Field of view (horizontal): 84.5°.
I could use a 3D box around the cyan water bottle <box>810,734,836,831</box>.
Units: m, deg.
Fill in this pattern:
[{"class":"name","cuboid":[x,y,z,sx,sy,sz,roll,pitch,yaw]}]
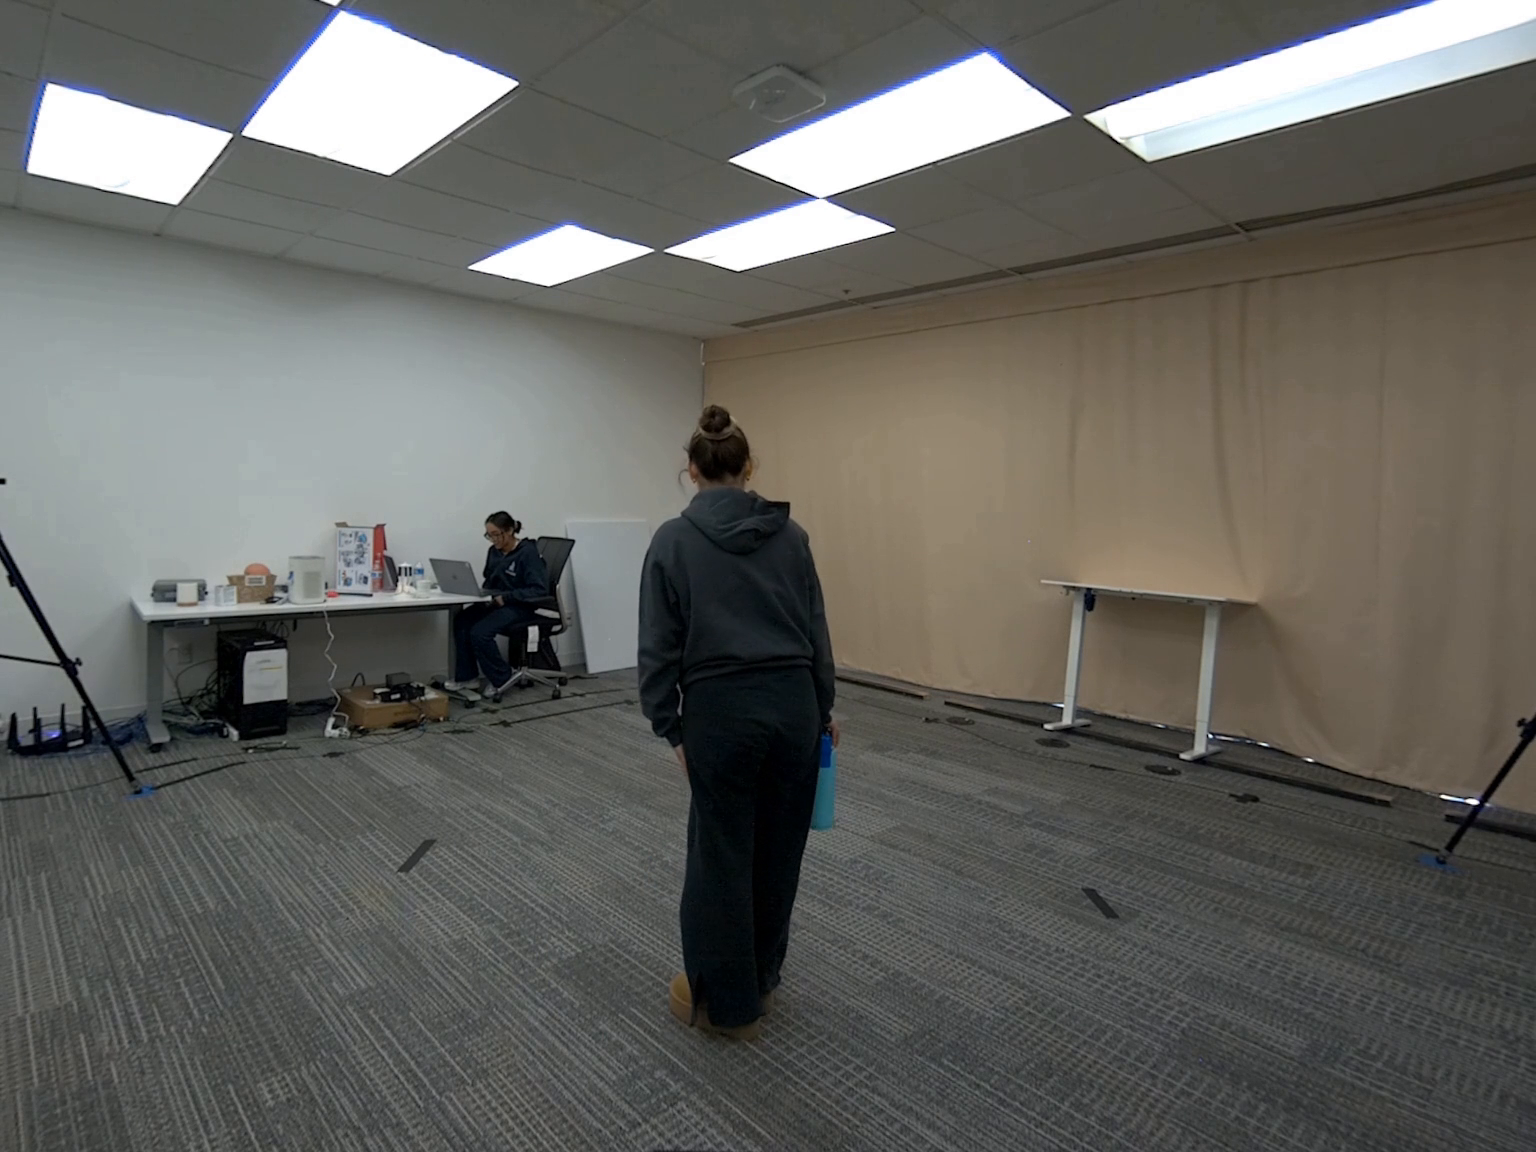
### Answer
[{"class":"cyan water bottle","cuboid":[0.151,0.571,2.369,0.092,0.283,0.092,2,1,-1]}]
